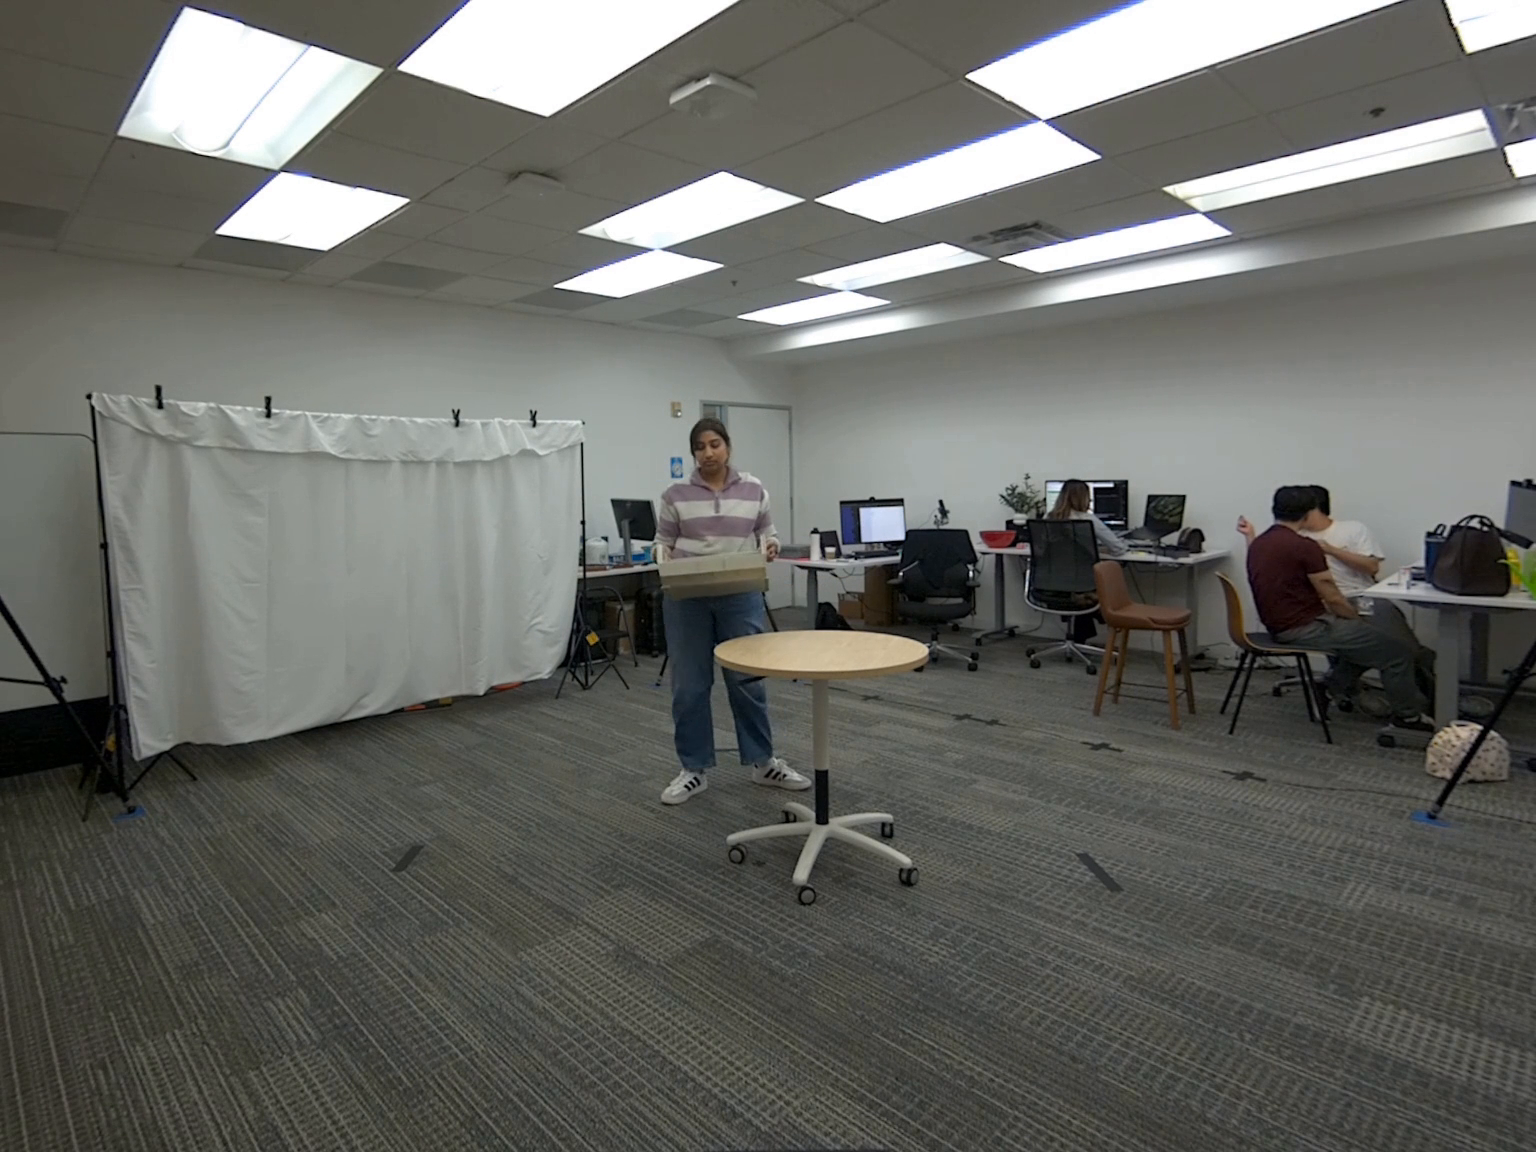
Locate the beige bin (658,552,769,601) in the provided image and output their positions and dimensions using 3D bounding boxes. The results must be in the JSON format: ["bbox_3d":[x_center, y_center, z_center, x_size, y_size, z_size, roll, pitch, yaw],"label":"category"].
[{"bbox_3d":[-0.219,-0.033,3.414,0.422,0.191,0.372,-5,-11,0],"label":"beige bin"}]
